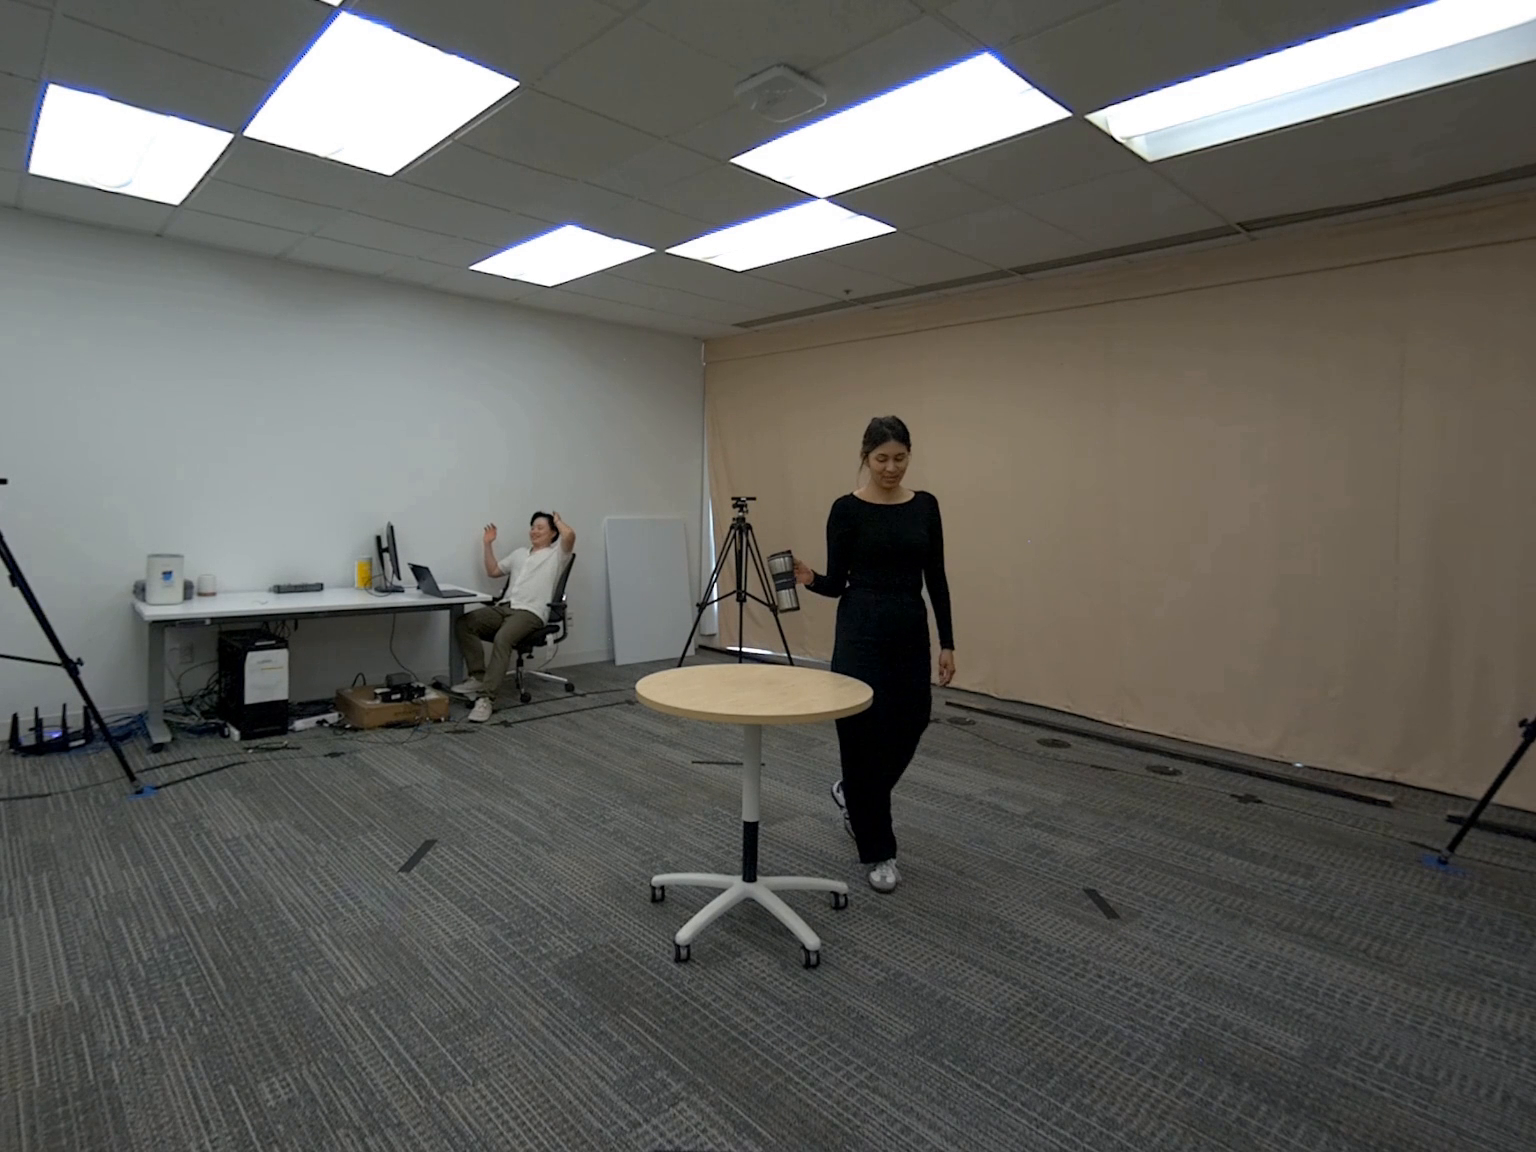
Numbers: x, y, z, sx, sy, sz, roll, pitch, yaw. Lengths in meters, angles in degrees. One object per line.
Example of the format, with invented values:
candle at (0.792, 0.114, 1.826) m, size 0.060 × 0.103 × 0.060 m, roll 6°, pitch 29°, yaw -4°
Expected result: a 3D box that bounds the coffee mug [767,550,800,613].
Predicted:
coffee mug at (0.071, 0.020, 2.833) m, size 0.119 × 0.204 × 0.089 m, roll -7°, pitch -6°, yaw -45°
